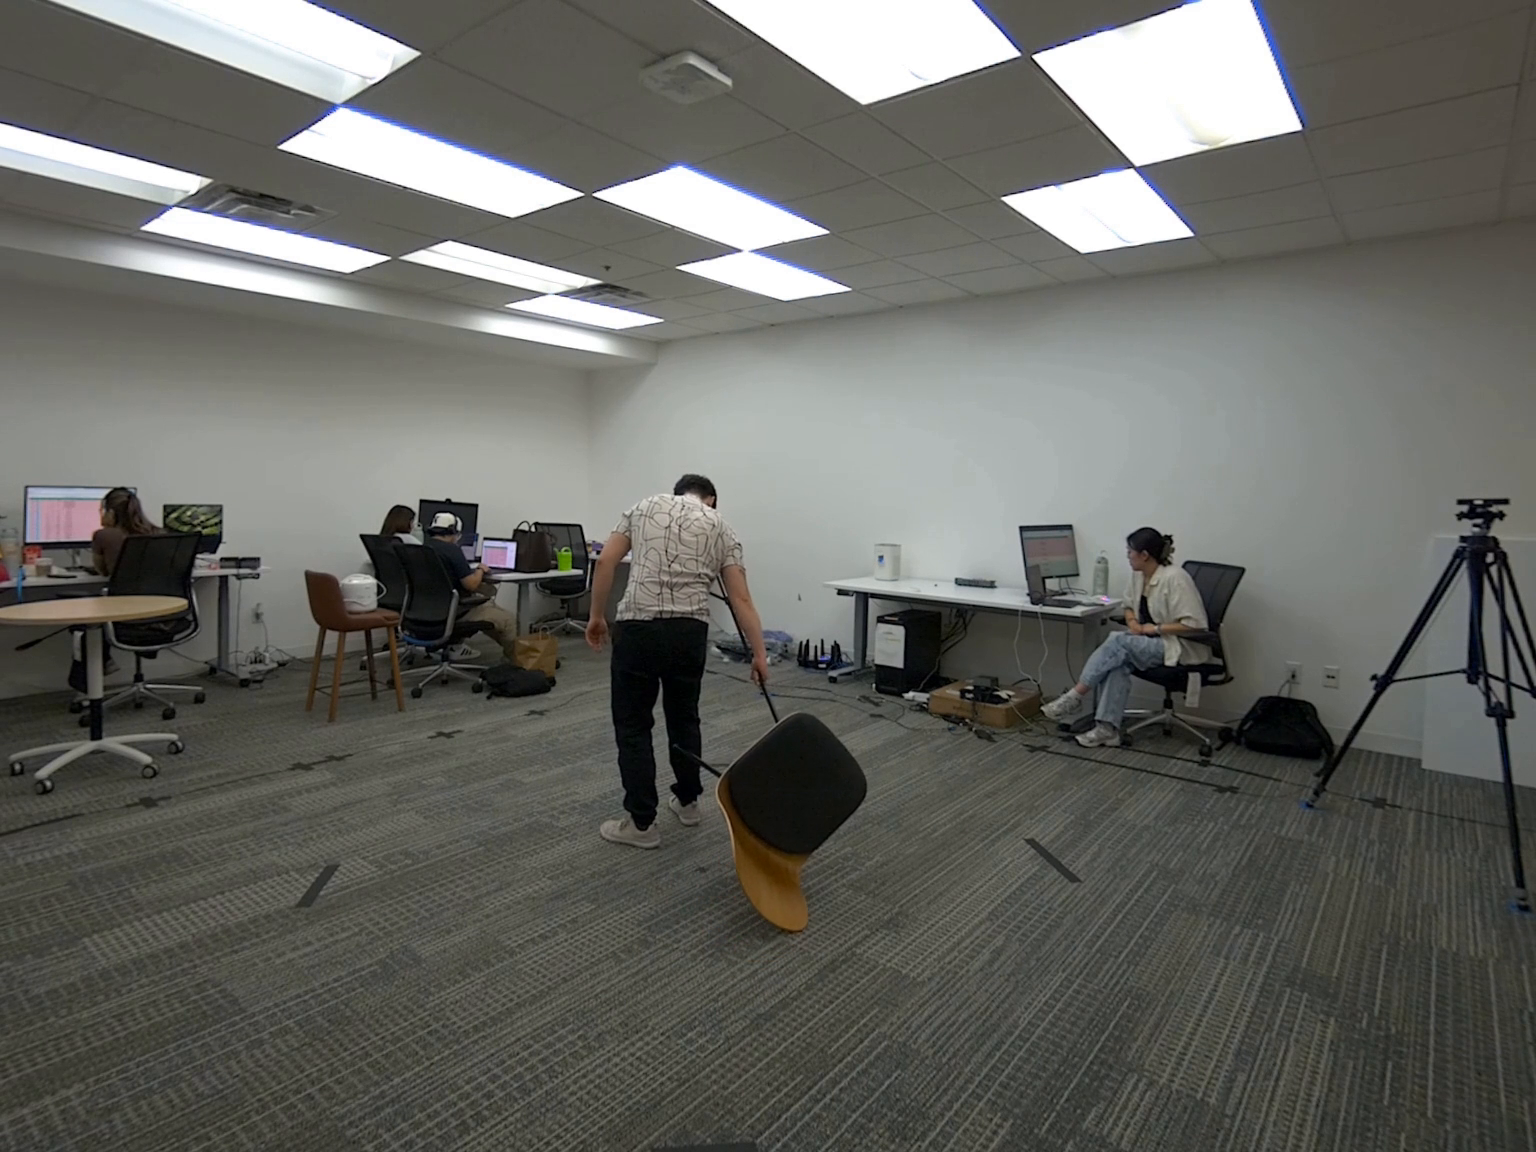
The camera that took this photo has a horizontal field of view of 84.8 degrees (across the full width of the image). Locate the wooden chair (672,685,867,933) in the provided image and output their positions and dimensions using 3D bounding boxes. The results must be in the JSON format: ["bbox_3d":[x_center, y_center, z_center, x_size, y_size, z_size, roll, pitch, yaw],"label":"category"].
[{"bbox_3d":[0.057,0.764,3.036,0.523,0.467,0.898,-41,18,-2],"label":"wooden chair"}]
